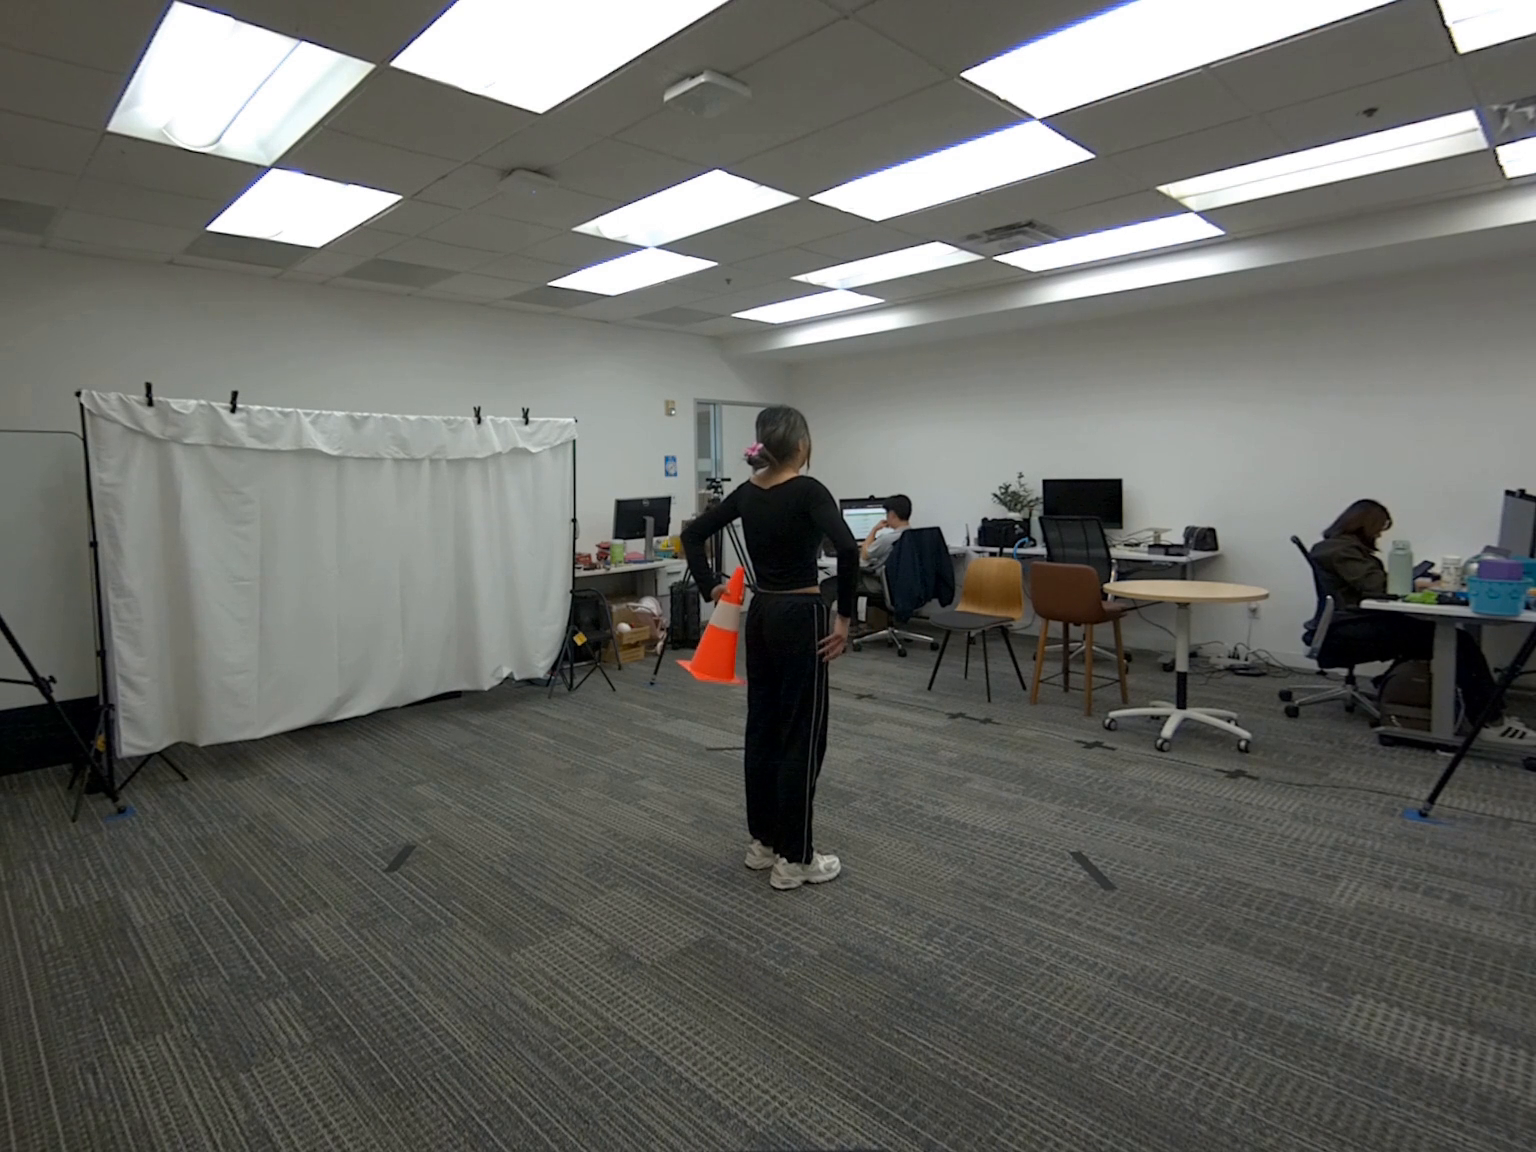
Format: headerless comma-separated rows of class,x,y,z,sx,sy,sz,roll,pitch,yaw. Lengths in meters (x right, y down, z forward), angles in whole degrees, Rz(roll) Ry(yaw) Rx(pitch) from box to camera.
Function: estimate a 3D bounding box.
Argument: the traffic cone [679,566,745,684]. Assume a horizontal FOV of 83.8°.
traffic cone,-0.136,0.152,2.937,0.197,0.382,0.212,10,7,-35
